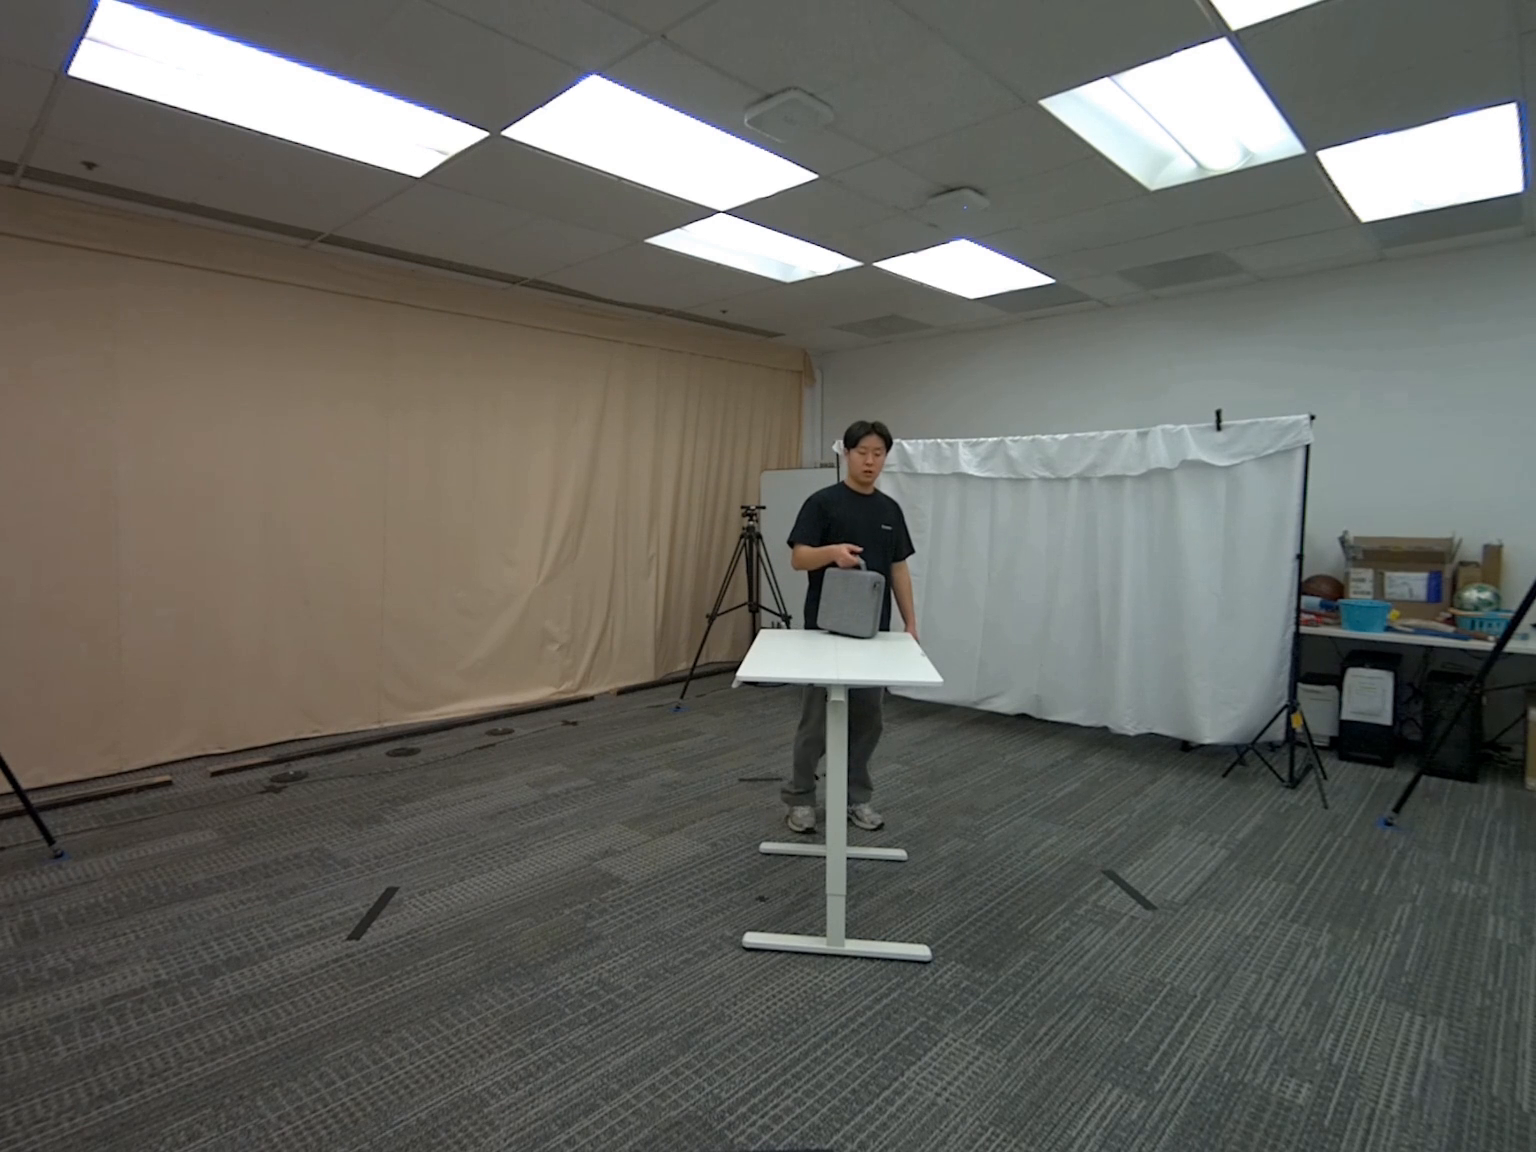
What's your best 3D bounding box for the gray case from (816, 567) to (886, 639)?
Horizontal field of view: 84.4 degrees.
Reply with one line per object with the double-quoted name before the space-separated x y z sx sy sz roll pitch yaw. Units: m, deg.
"gray case" 0.325 0.090 3.301 0.099 0.287 0.272 7 0 -40
